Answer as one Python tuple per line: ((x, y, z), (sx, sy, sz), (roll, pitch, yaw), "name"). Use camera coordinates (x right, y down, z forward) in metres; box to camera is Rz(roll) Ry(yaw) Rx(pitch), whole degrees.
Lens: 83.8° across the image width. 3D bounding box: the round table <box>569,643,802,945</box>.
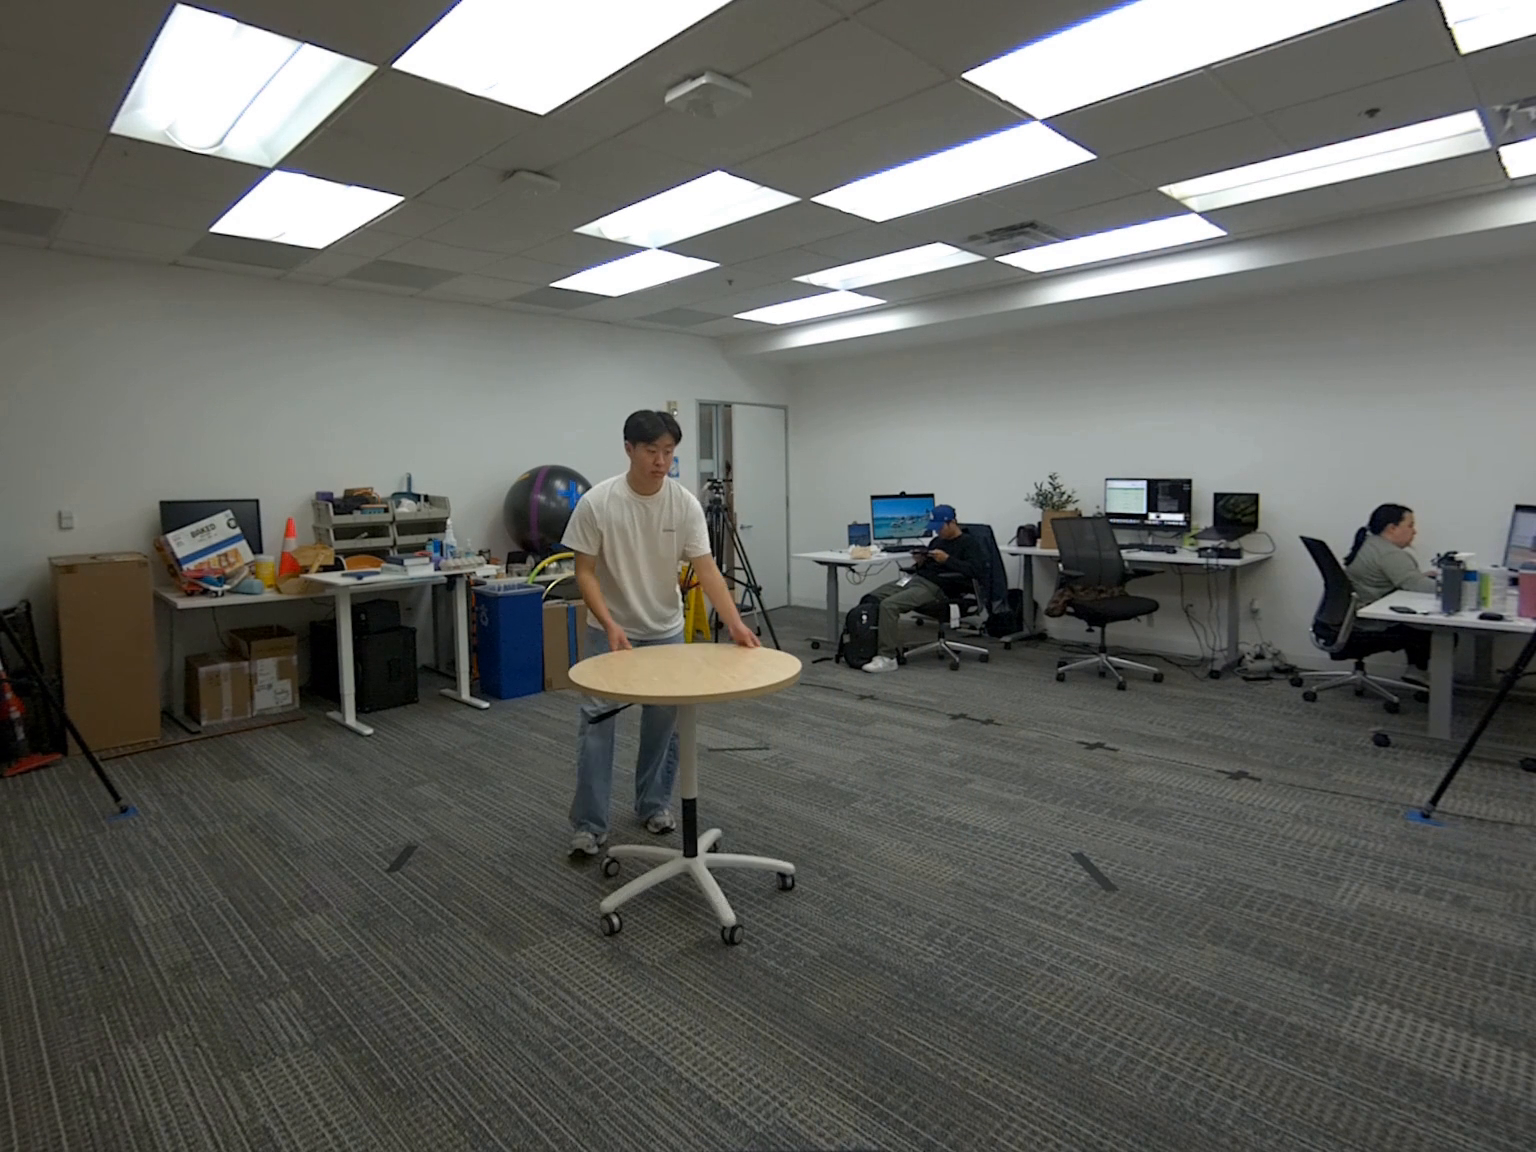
((-0.269, 0.682, 2.860), (0.784, 0.783, 0.789), (-2, 5, -2), "round table")
